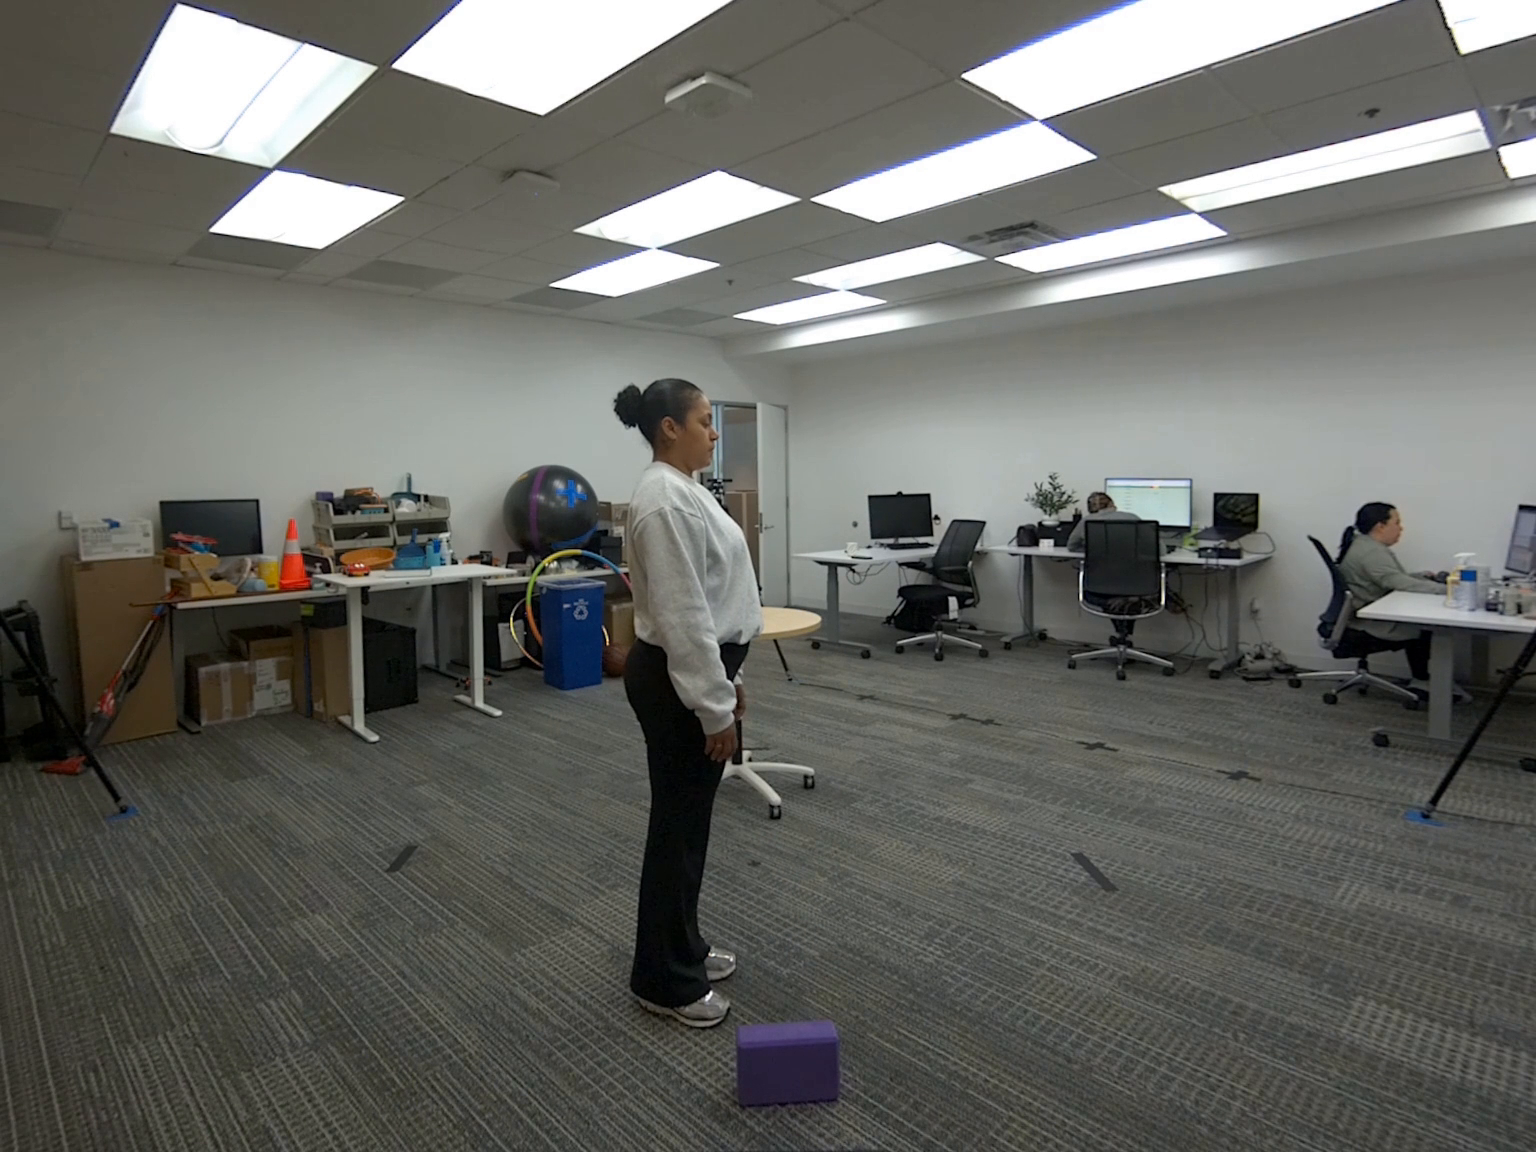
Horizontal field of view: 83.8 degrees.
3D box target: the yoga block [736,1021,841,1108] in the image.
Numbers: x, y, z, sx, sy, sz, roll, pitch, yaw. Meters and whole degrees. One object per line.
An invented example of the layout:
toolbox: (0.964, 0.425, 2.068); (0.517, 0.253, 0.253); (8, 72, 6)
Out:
yoga block: (0.051, 1.112, 1.935); (0.228, 0.148, 0.077); (-1, 4, -4)
